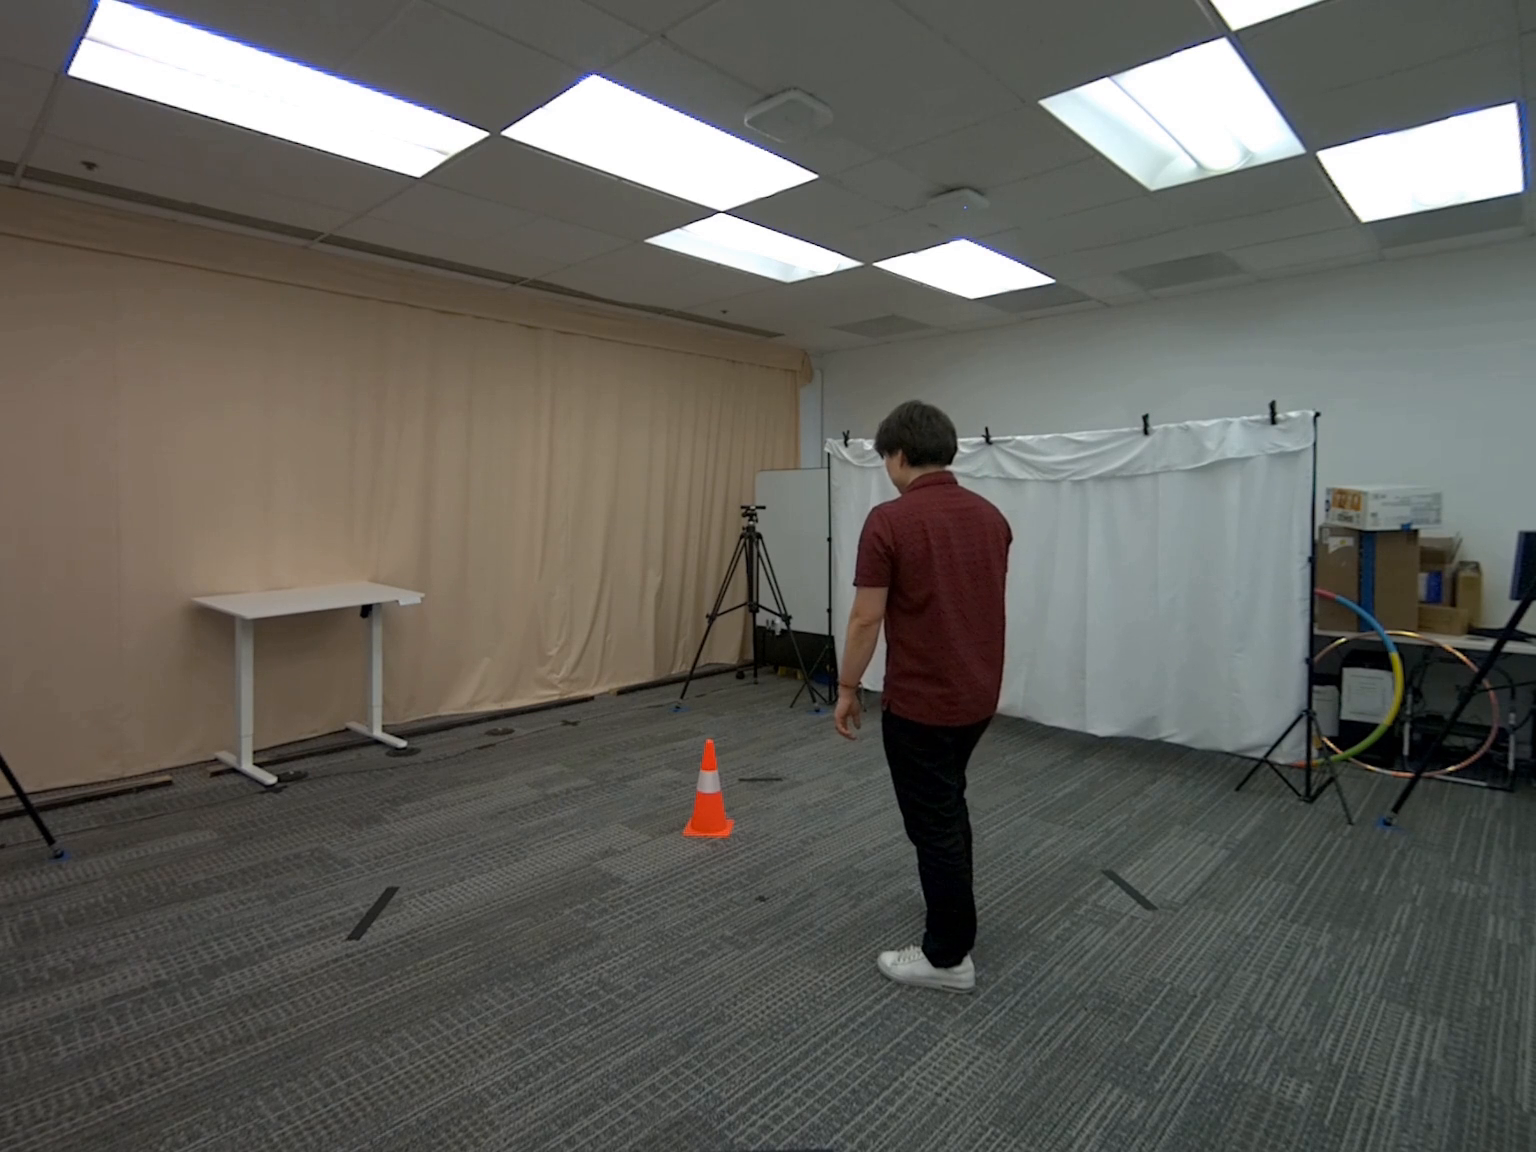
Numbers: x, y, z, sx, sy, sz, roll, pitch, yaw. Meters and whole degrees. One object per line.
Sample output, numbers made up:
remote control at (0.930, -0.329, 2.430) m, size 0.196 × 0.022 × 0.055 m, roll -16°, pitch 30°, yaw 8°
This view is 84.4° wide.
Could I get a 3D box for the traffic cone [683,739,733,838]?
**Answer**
traffic cone at (-0.263, 0.904, 3.652) m, size 0.207 × 0.383 × 0.201 m, roll -1°, pitch 2°, yaw 10°
